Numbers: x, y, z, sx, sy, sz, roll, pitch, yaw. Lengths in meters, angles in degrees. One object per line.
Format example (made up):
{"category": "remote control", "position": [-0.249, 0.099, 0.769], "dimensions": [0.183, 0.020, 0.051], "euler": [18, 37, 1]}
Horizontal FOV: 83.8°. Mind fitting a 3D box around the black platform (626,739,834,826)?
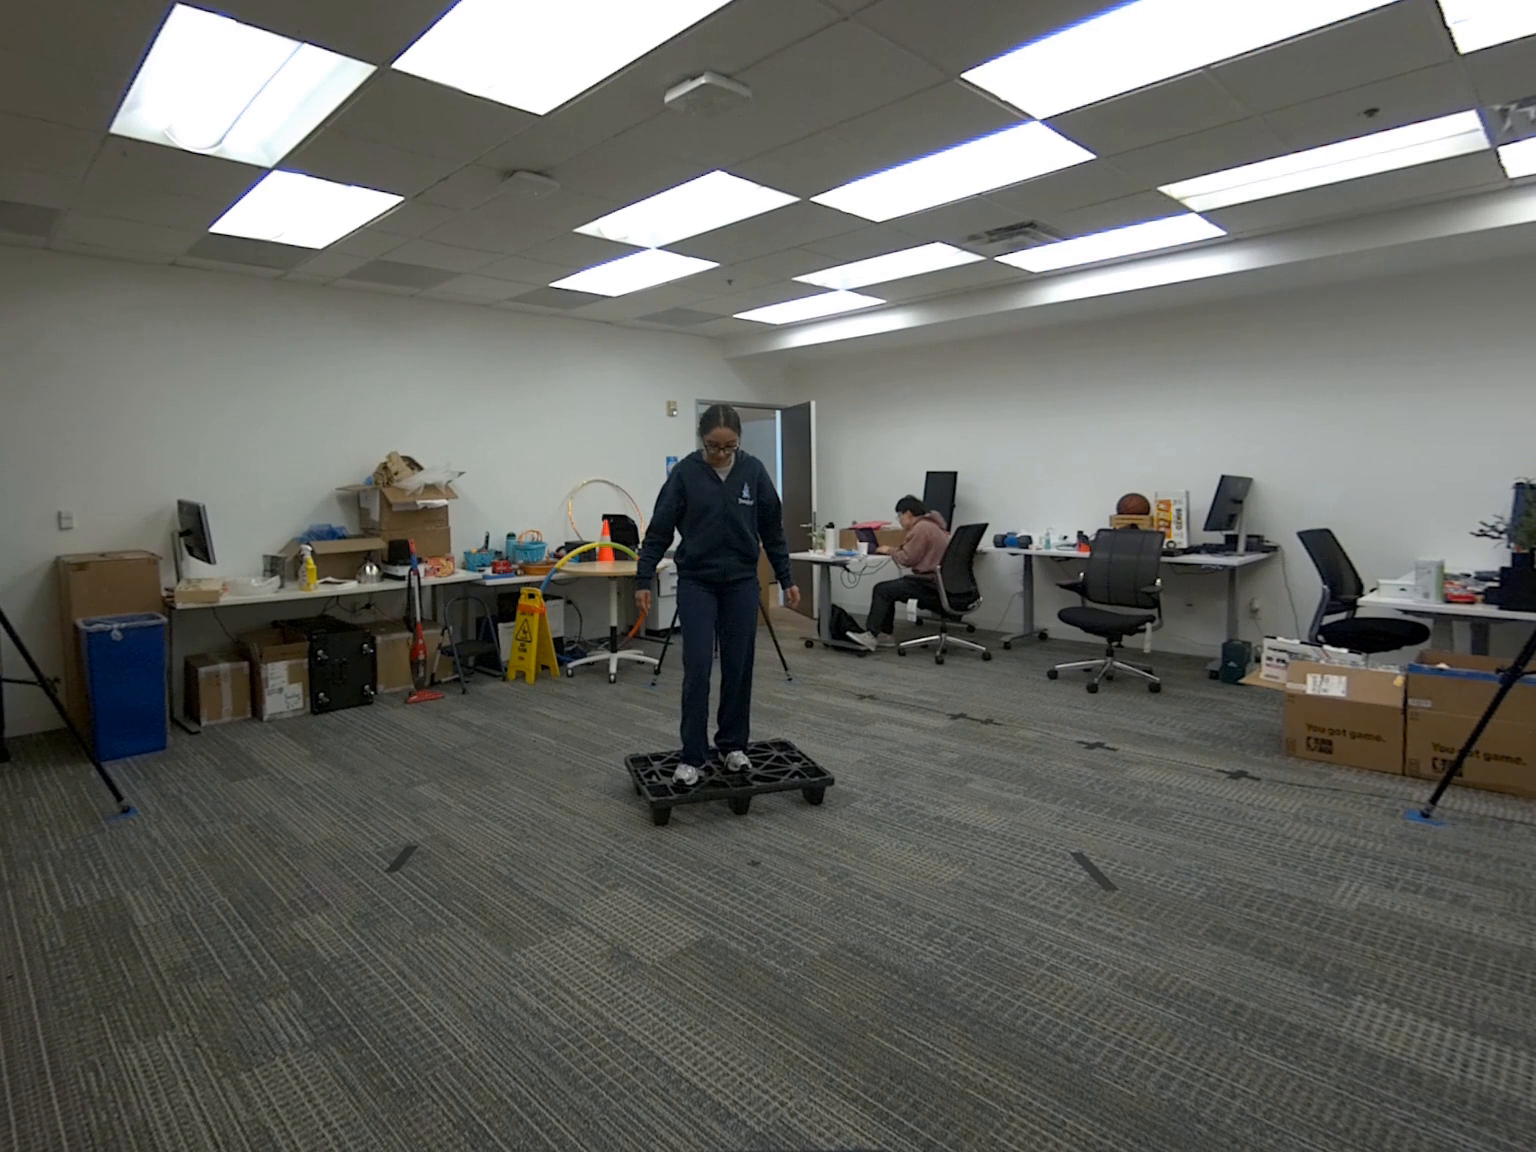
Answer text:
{"category": "black platform", "position": [-0.183, 0.904, 3.774], "dimensions": [0.794, 0.142, 0.617], "euler": [-3, 7, -17]}
